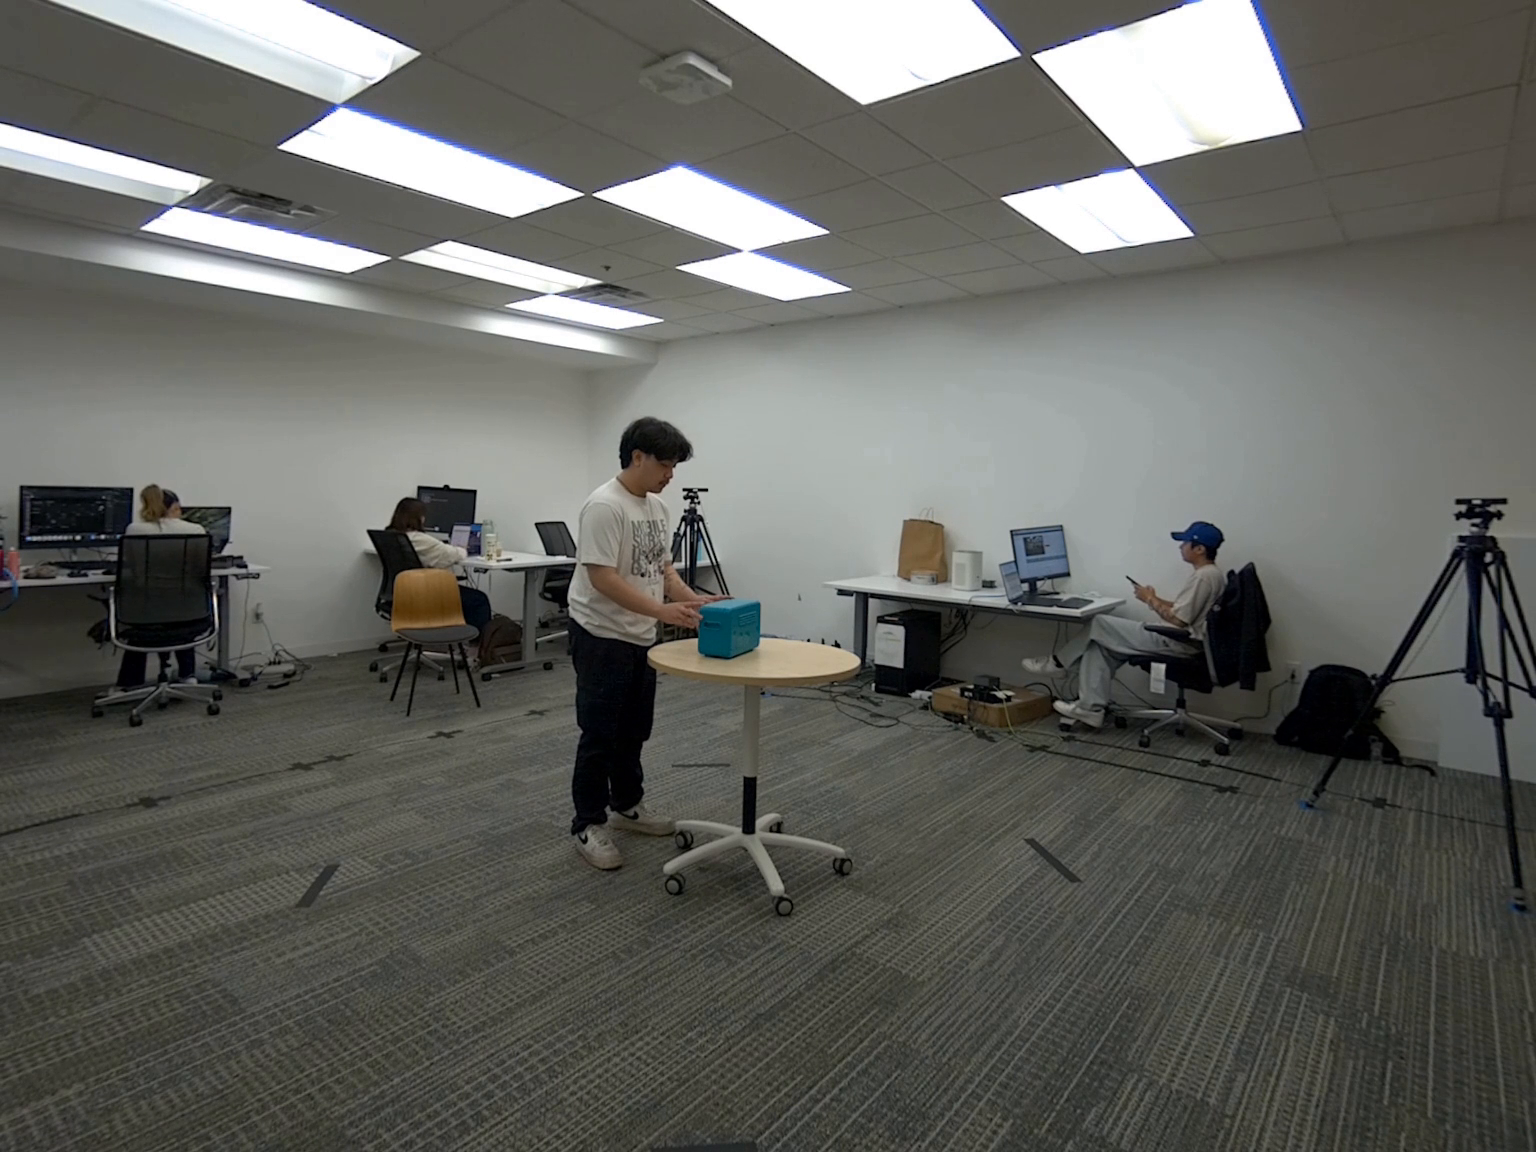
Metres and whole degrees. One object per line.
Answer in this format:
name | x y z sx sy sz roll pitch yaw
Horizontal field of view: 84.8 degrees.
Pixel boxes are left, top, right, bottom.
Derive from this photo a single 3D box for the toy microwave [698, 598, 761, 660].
toy microwave | -0.156 0.185 3.108 0.156 0.183 0.280 3 5 24
